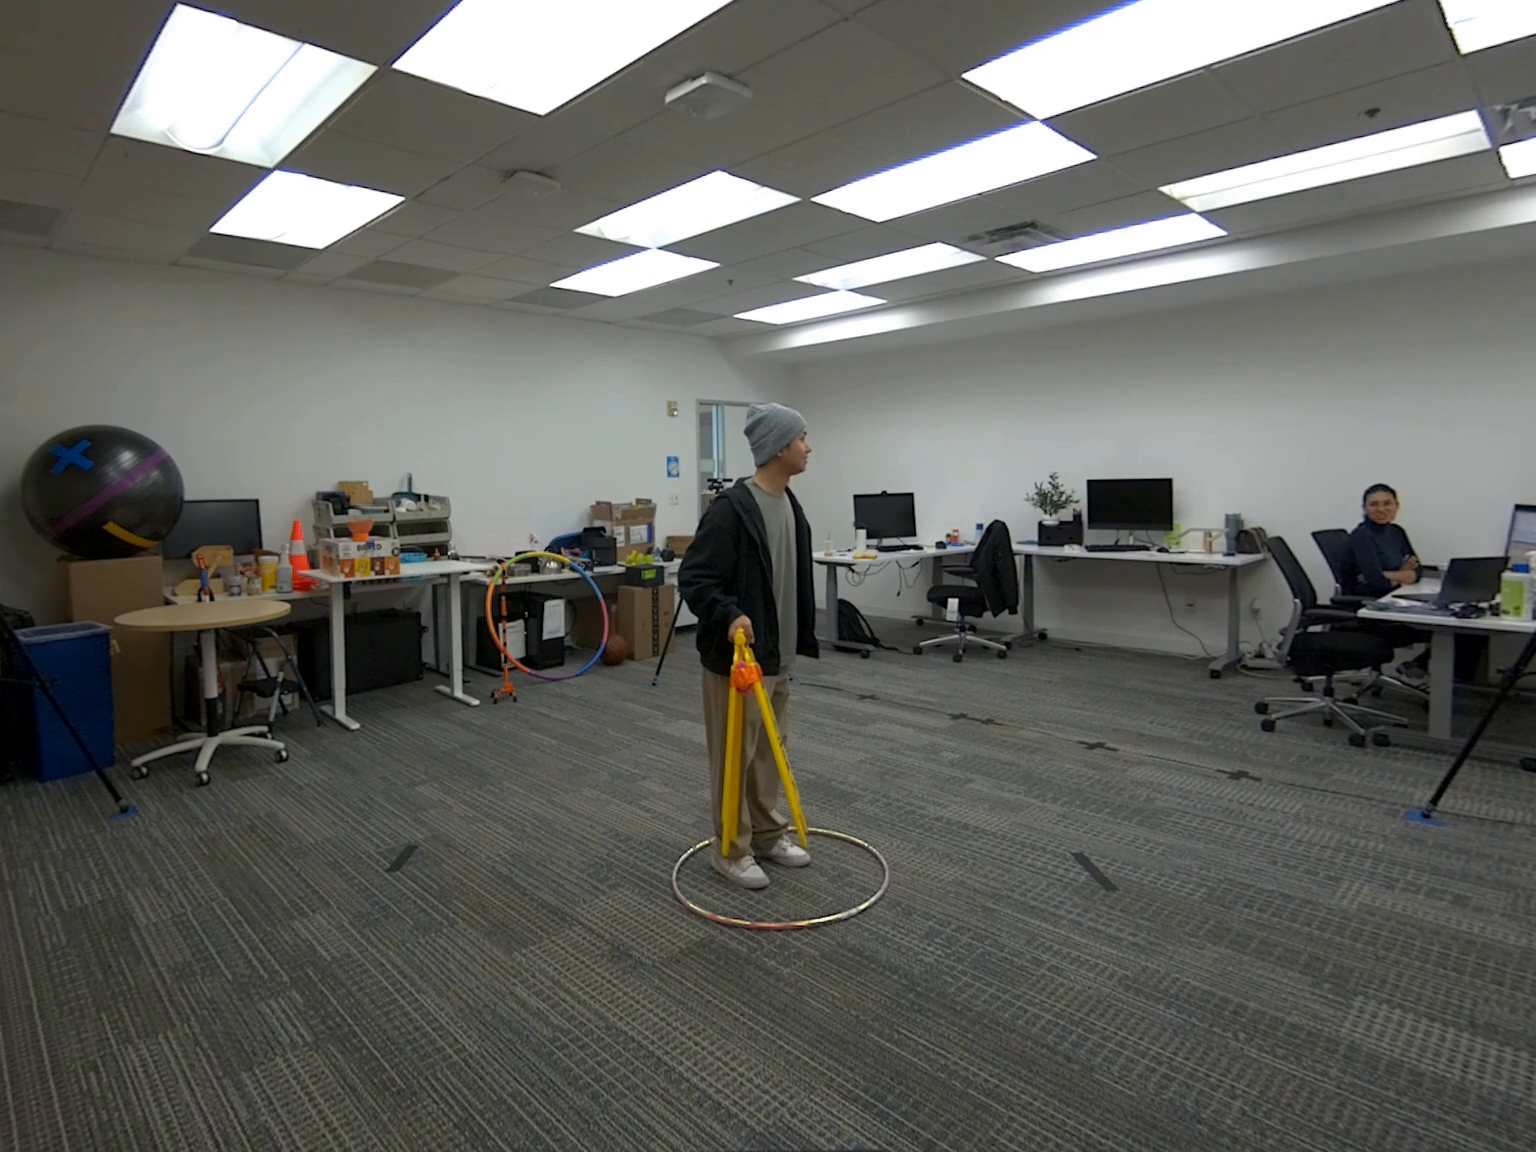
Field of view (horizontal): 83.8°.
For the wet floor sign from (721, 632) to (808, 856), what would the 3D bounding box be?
[{"bbox_3d":[-0.046,0.490,2.652,0.291,0.649,0.280,-7,-4,3],"label":"wet floor sign"}]
